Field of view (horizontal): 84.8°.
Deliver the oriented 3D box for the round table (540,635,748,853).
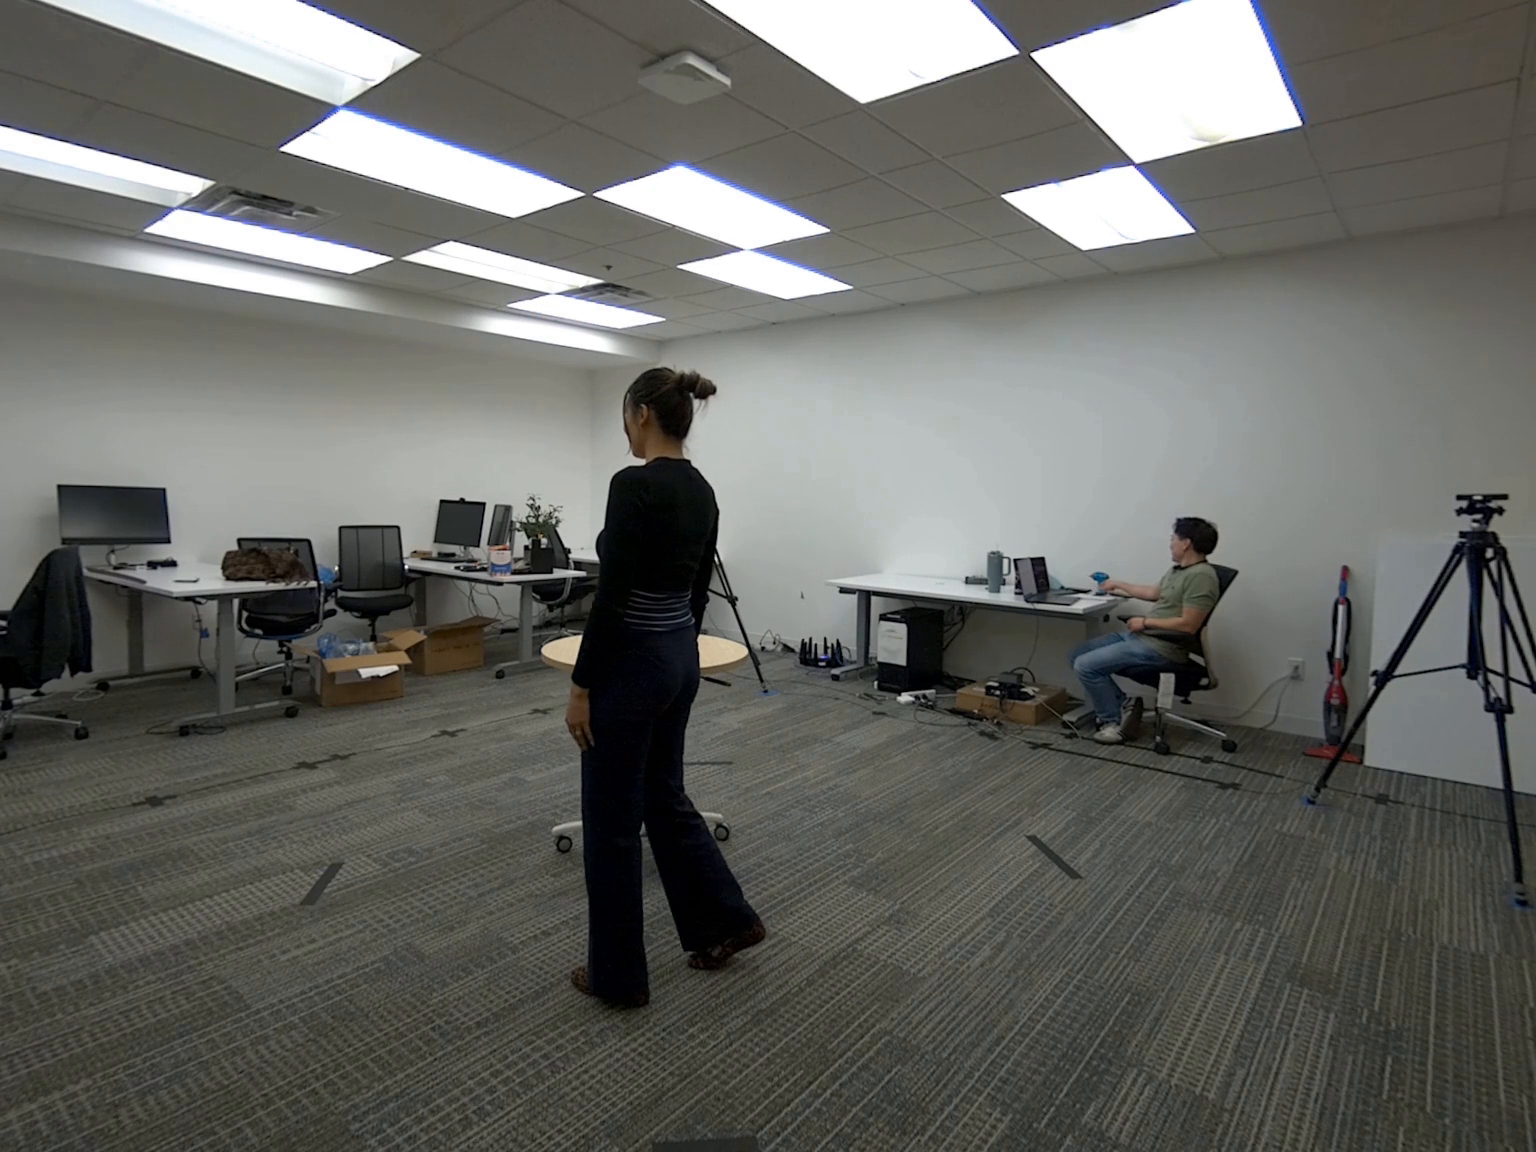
[{"bbox_3d":[-0.470,0.659,3.189,0.763,0.791,0.768,1,4,-2],"label":"round table"}]
